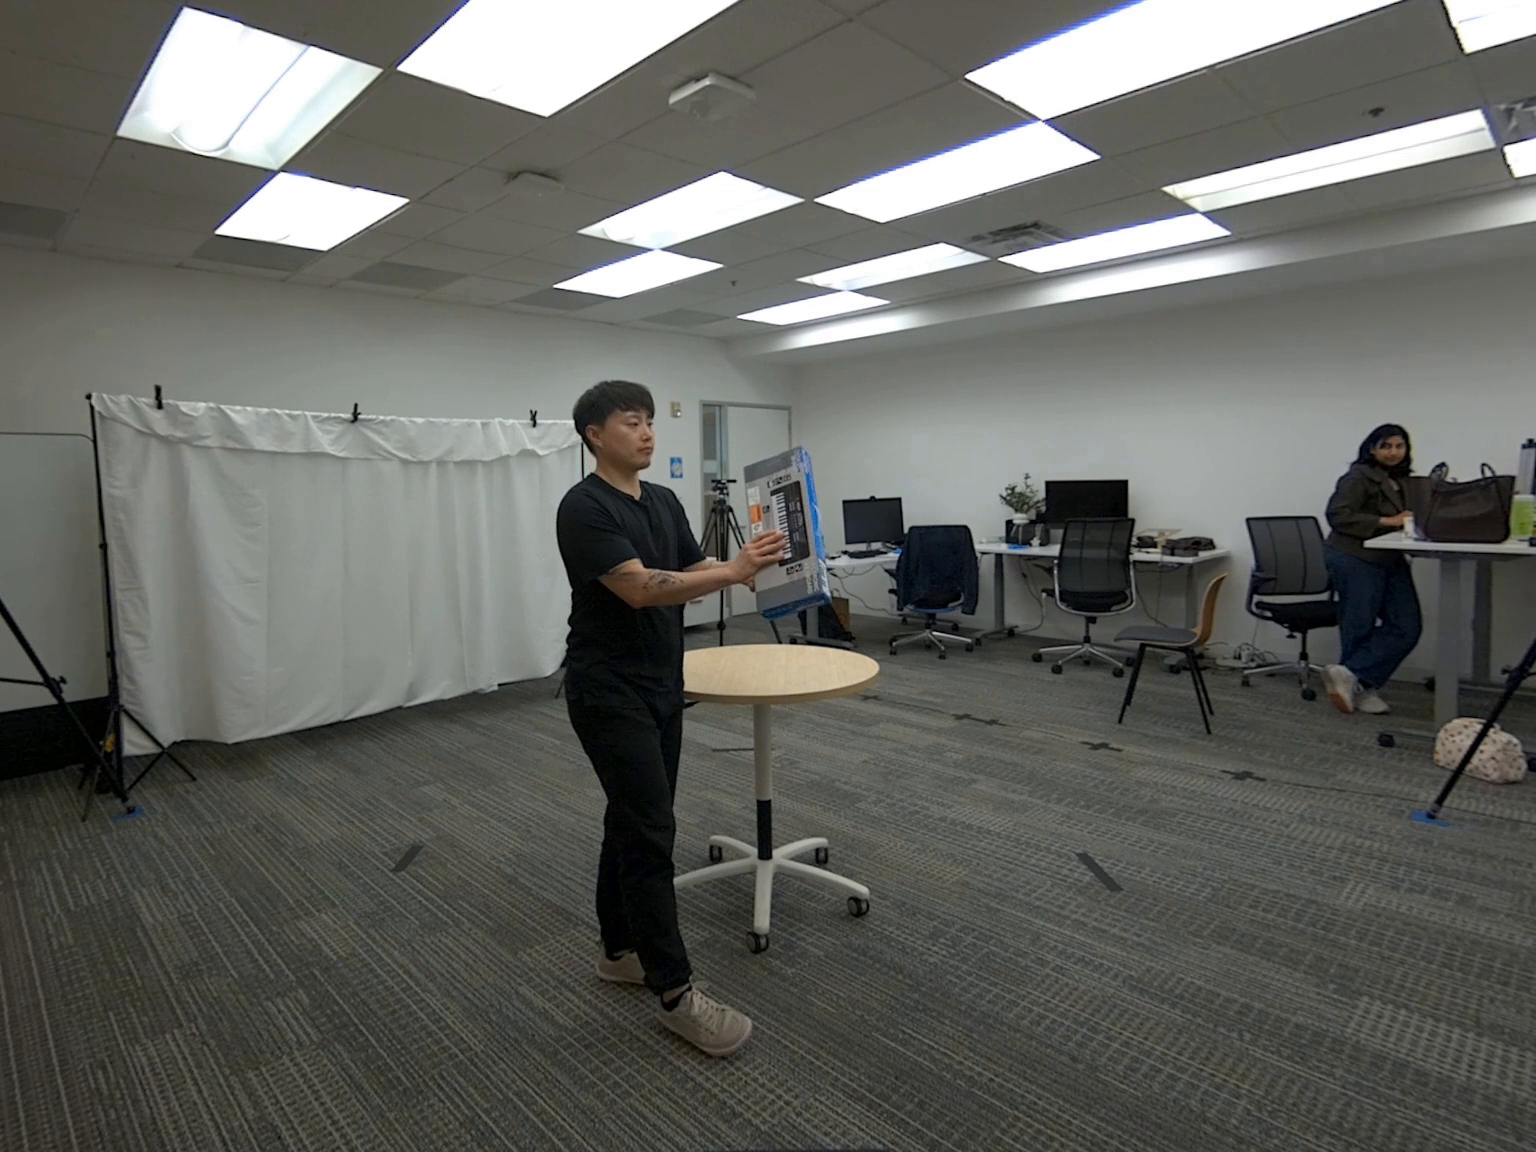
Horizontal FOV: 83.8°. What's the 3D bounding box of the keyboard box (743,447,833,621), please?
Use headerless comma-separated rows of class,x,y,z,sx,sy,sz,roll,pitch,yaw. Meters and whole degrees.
keyboard box,0.044,-0.116,2.156,0.178,0.449,0.057,-19,-33,20
